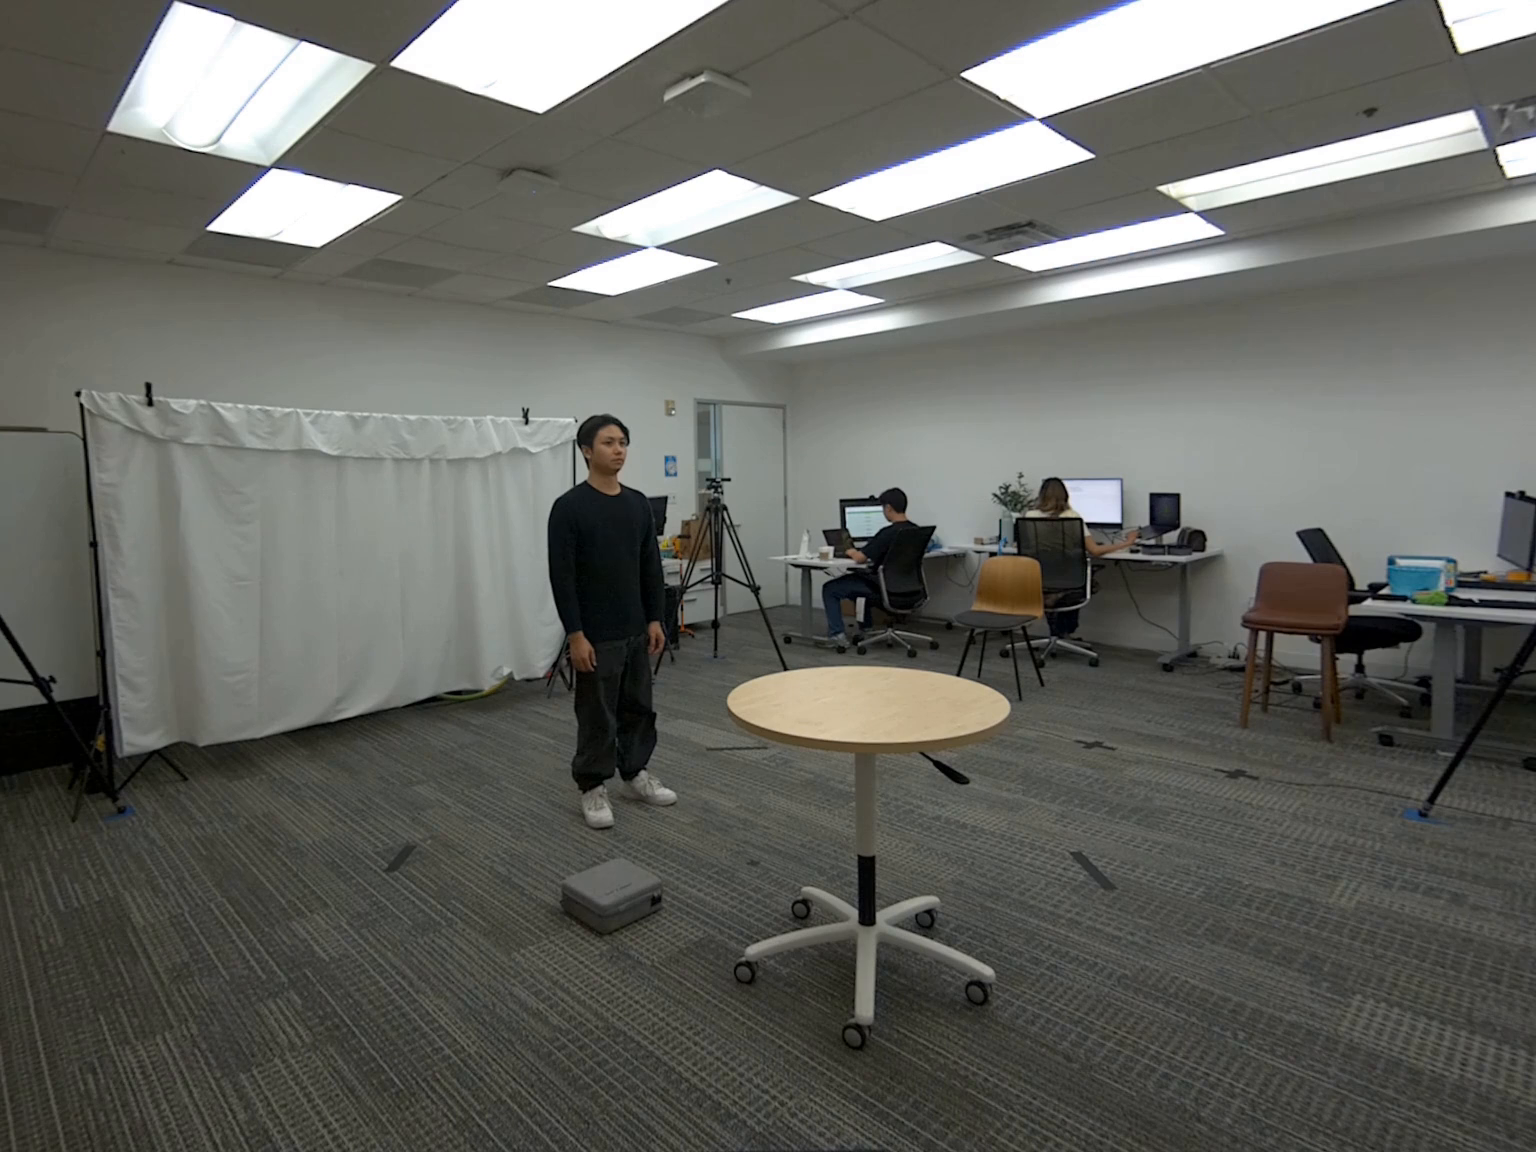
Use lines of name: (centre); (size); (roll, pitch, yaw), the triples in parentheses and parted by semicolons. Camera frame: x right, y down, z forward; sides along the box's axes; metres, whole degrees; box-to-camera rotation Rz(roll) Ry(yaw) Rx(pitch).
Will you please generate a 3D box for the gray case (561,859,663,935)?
gray case: (-0.511, 1.033, 2.782); (0.250, 0.104, 0.269); (-9, 10, -44)
